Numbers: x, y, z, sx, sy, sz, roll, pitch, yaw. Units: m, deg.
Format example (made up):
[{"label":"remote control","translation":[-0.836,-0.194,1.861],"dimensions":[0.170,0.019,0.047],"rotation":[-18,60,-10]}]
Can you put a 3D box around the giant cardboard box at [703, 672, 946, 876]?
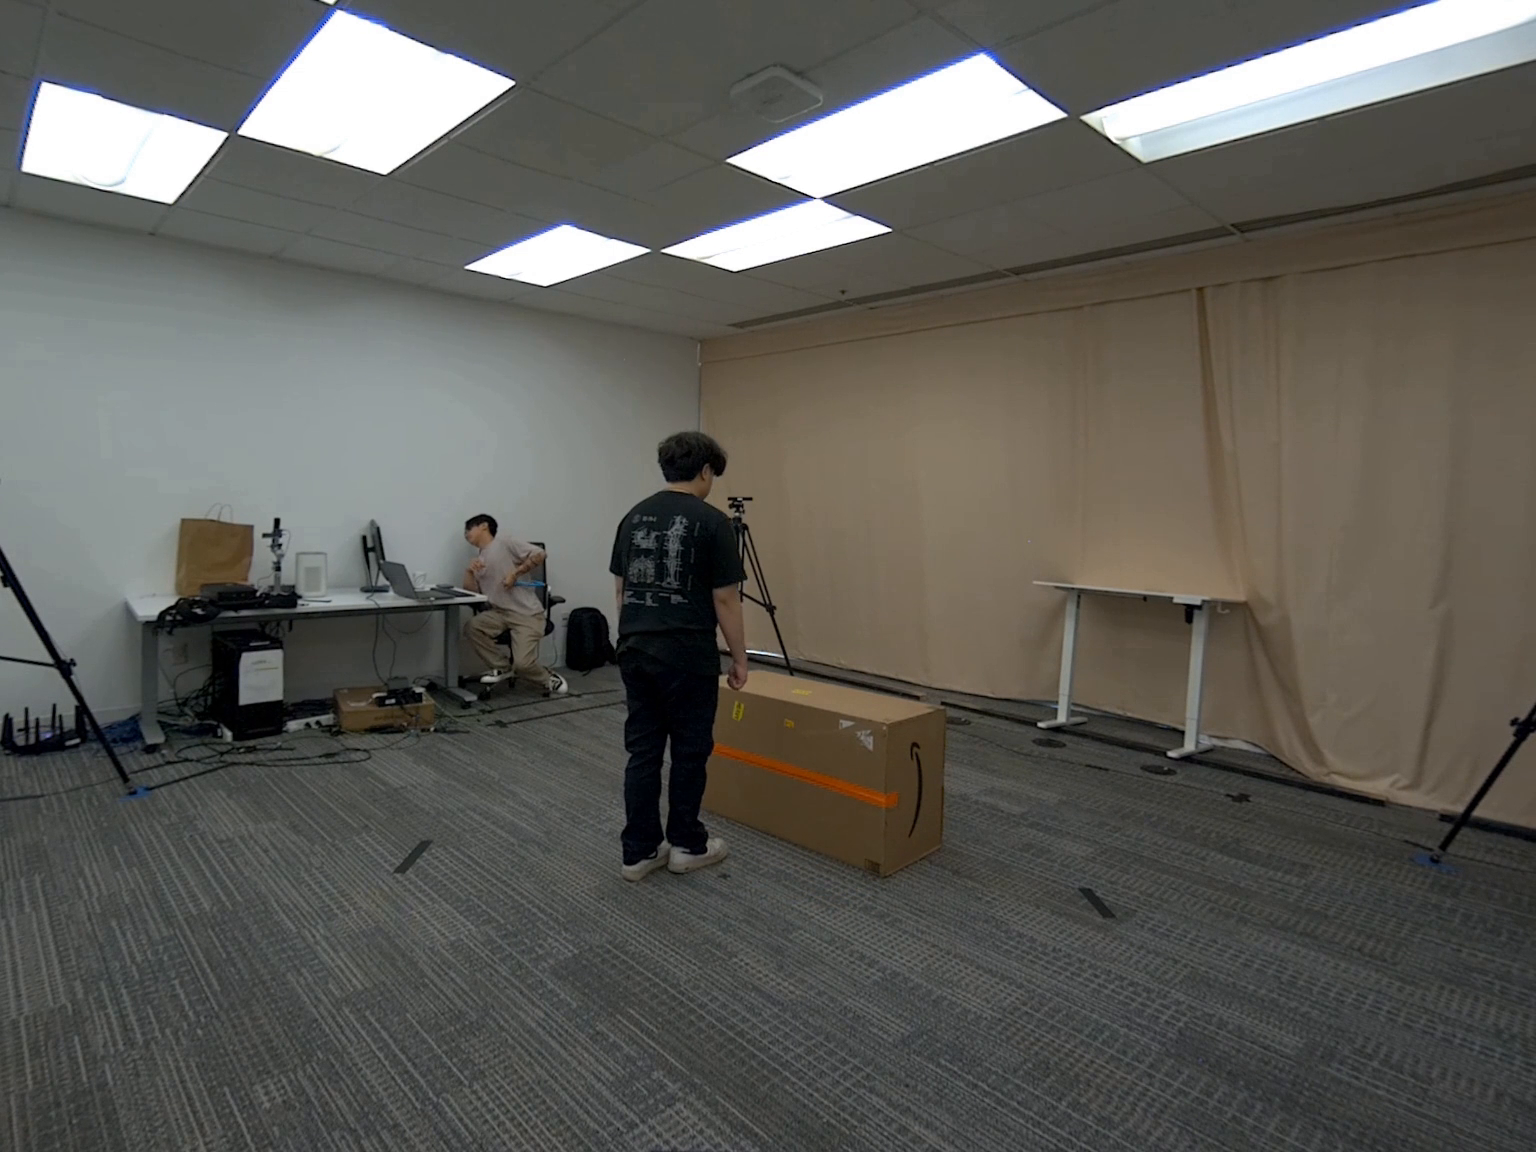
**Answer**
[{"label":"giant cardboard box","translation":[0.185,0.786,3.605],"dimensions":[1.053,0.582,0.437],"rotation":[5,5,42]}]
